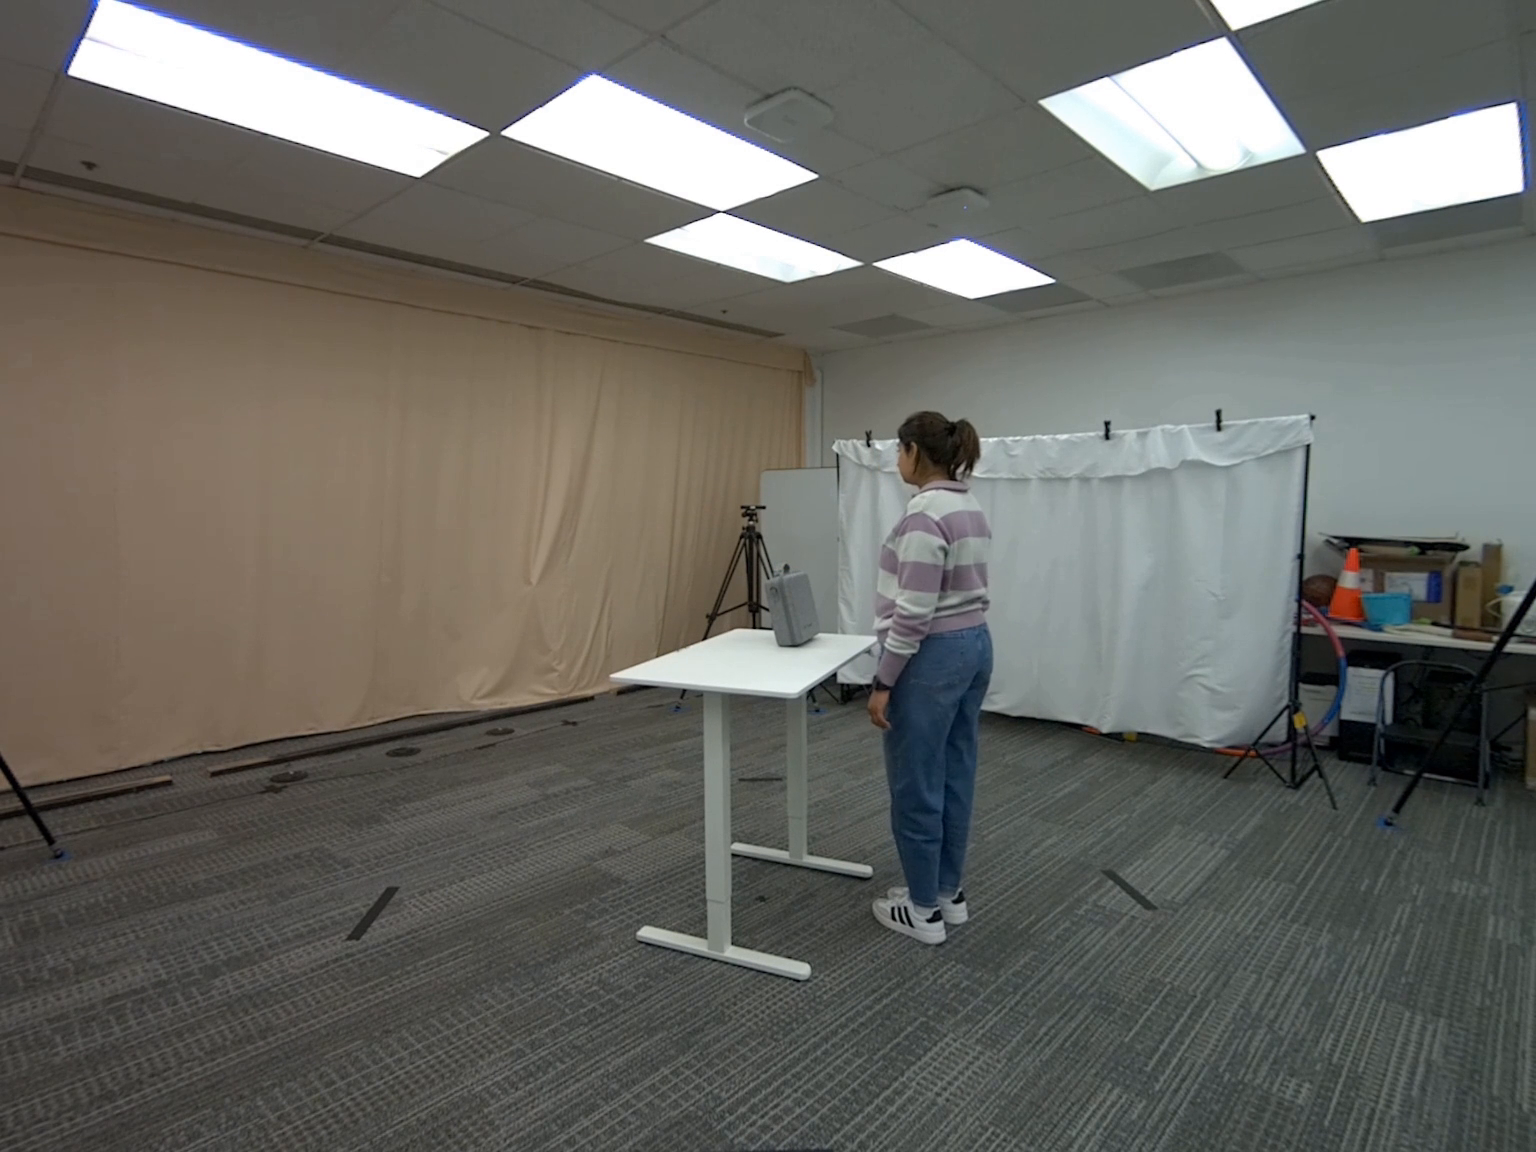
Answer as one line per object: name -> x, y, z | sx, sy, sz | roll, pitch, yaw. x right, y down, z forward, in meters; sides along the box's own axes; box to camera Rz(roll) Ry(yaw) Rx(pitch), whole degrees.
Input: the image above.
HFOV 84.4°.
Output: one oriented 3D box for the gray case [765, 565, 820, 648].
gray case -> 0.095, 0.118, 3.107 | 0.106, 0.261, 0.251 | -12, -2, 22
